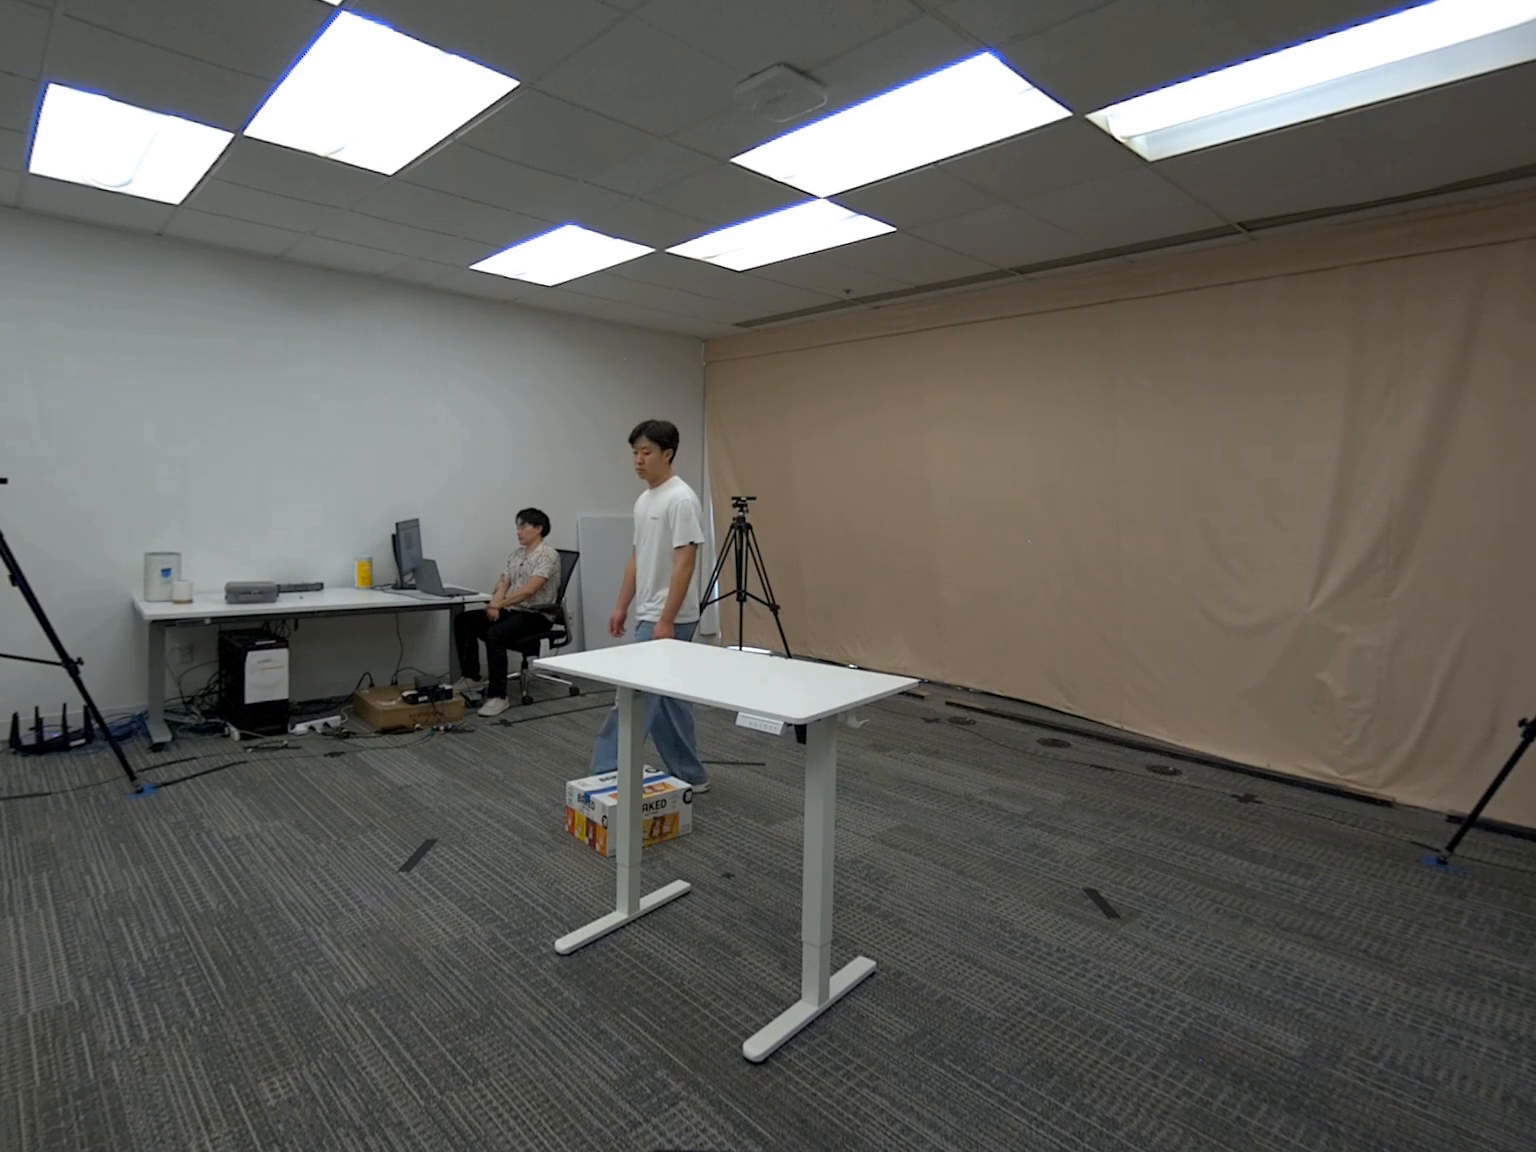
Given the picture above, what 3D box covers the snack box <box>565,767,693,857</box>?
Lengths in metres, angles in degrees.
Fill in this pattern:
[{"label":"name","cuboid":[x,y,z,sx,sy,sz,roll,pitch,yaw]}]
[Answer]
[{"label":"snack box","cuboid":[-0.589,0.963,3.482,0.396,0.205,0.349,-2,6,-41]}]
